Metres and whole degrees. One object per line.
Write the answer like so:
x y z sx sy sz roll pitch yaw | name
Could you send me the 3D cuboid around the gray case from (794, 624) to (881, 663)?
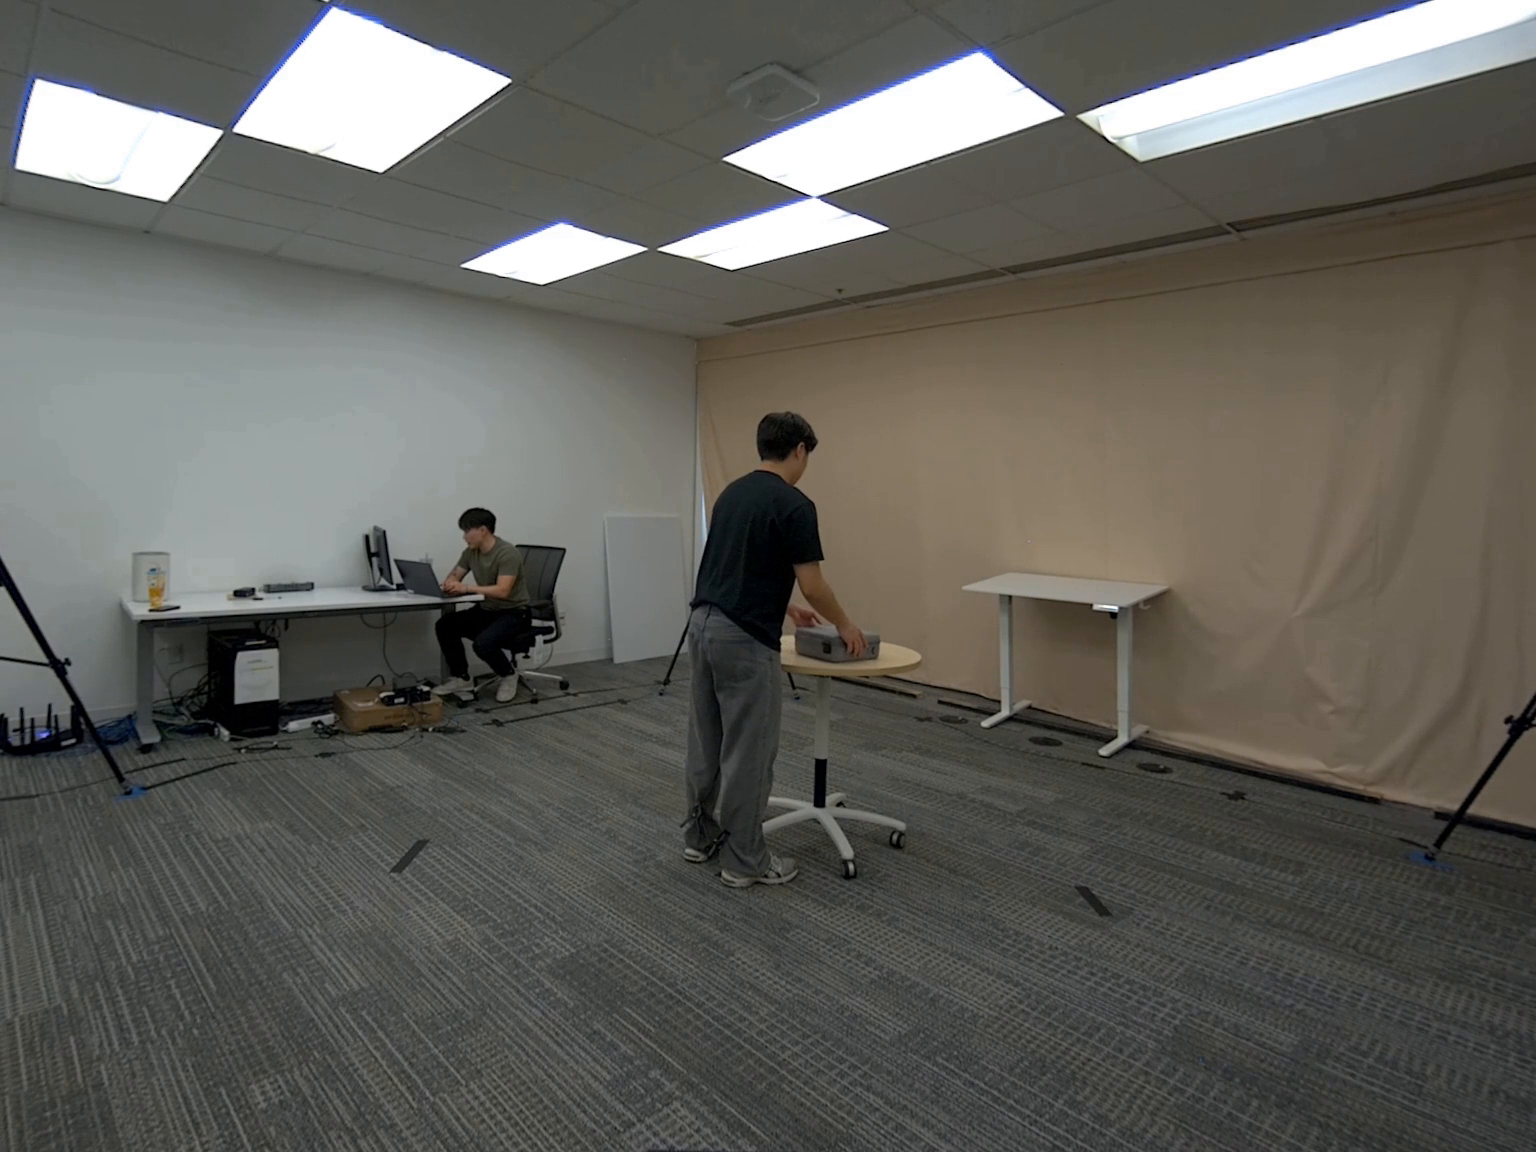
0.274 0.263 3.304 0.281 0.103 0.270 0 5 -35 | gray case
